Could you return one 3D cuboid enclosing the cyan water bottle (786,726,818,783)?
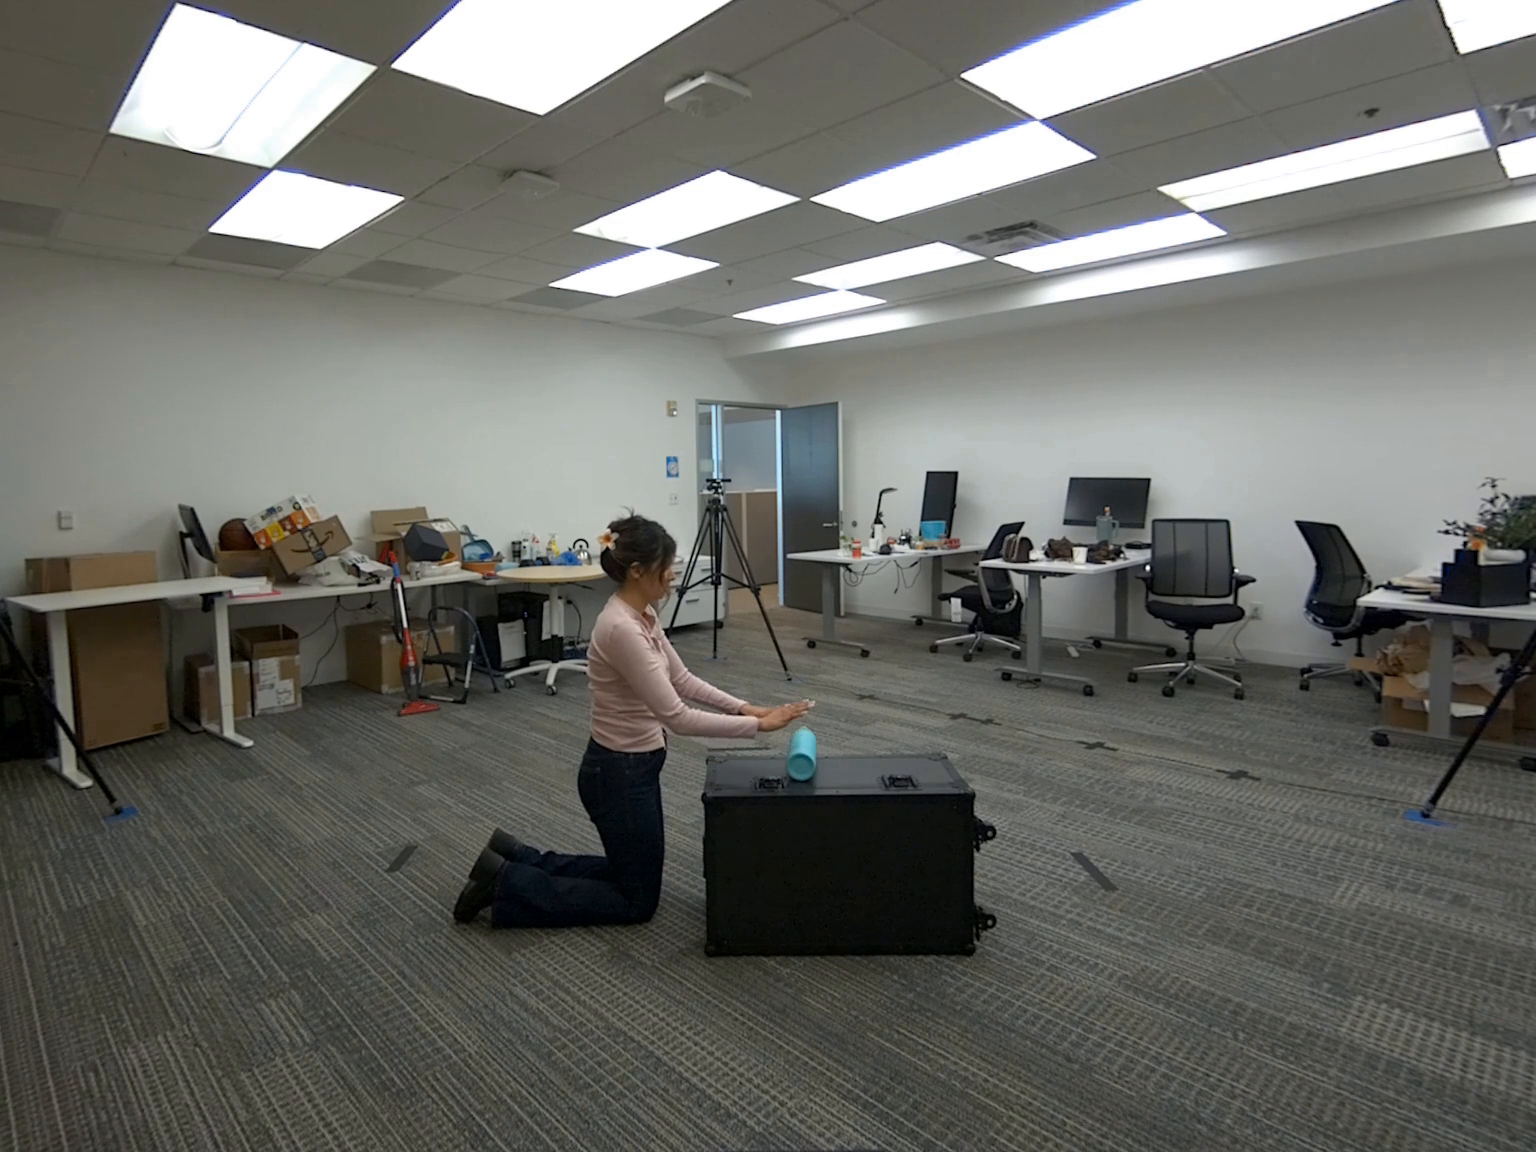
[{"bbox_3d":[0.111,0.550,2.704,0.093,0.092,0.283,-1,6,4],"label":"cyan water bottle"}]
